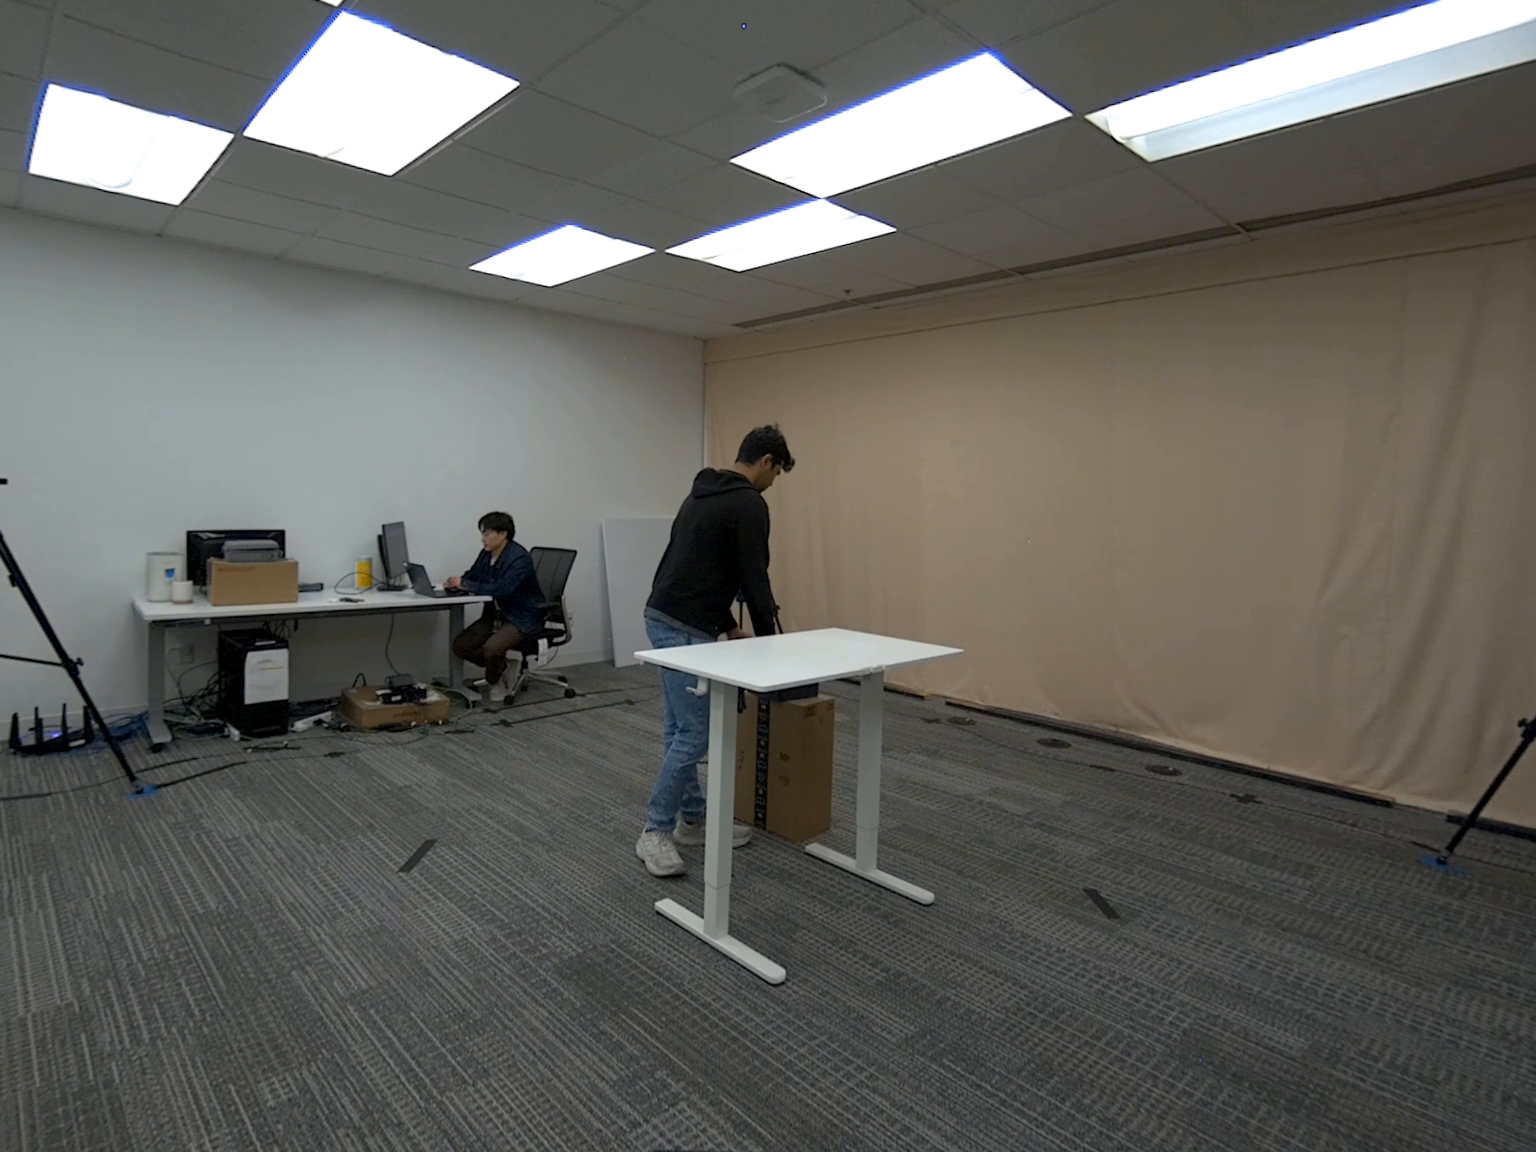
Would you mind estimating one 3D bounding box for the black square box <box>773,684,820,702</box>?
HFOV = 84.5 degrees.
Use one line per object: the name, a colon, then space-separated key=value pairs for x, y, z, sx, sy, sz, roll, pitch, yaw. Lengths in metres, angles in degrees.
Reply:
black square box: x=0.061 y=0.426 z=3.592 sx=0.212 sy=0.155 sz=0.234 roll=-2 pitch=6 yaw=-37
